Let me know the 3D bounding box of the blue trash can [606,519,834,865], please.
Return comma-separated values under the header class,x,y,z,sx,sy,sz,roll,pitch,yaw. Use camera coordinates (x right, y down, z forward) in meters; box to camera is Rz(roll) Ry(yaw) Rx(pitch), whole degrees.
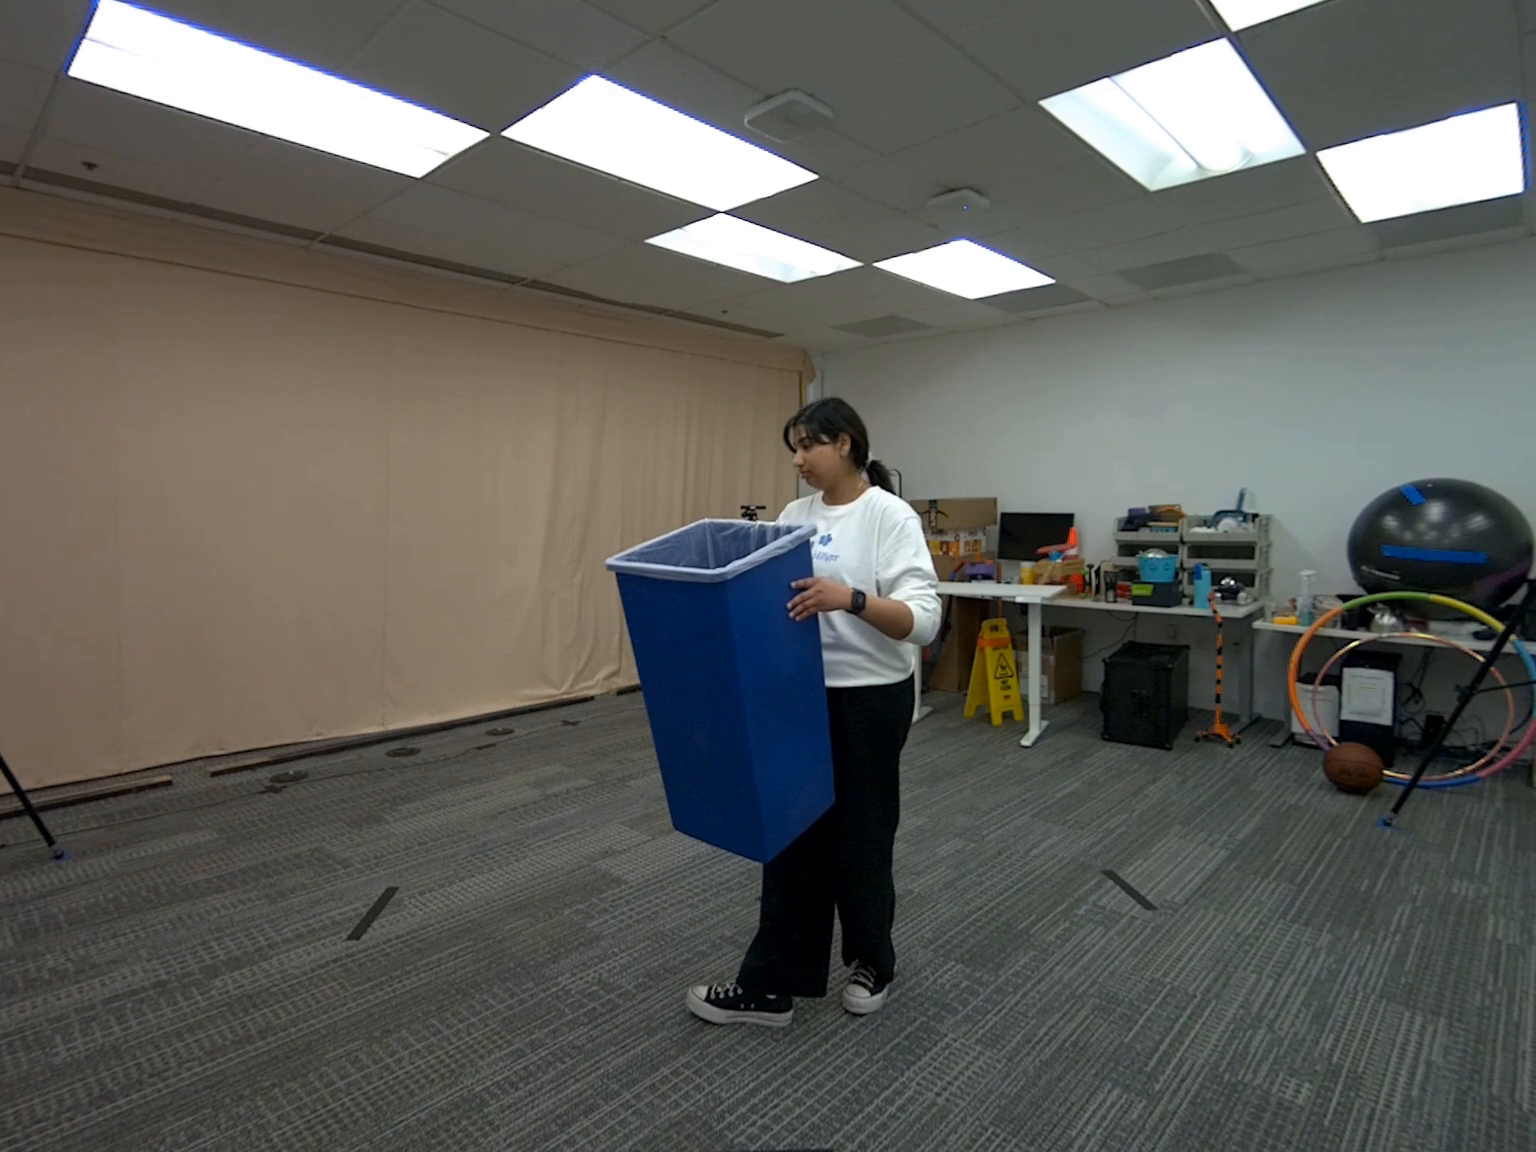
class,x,y,z,sx,sy,sz,roll,pitch,yaw
blue trash can,-0.083,0.262,2.003,0.391,0.706,0.366,5,19,40
